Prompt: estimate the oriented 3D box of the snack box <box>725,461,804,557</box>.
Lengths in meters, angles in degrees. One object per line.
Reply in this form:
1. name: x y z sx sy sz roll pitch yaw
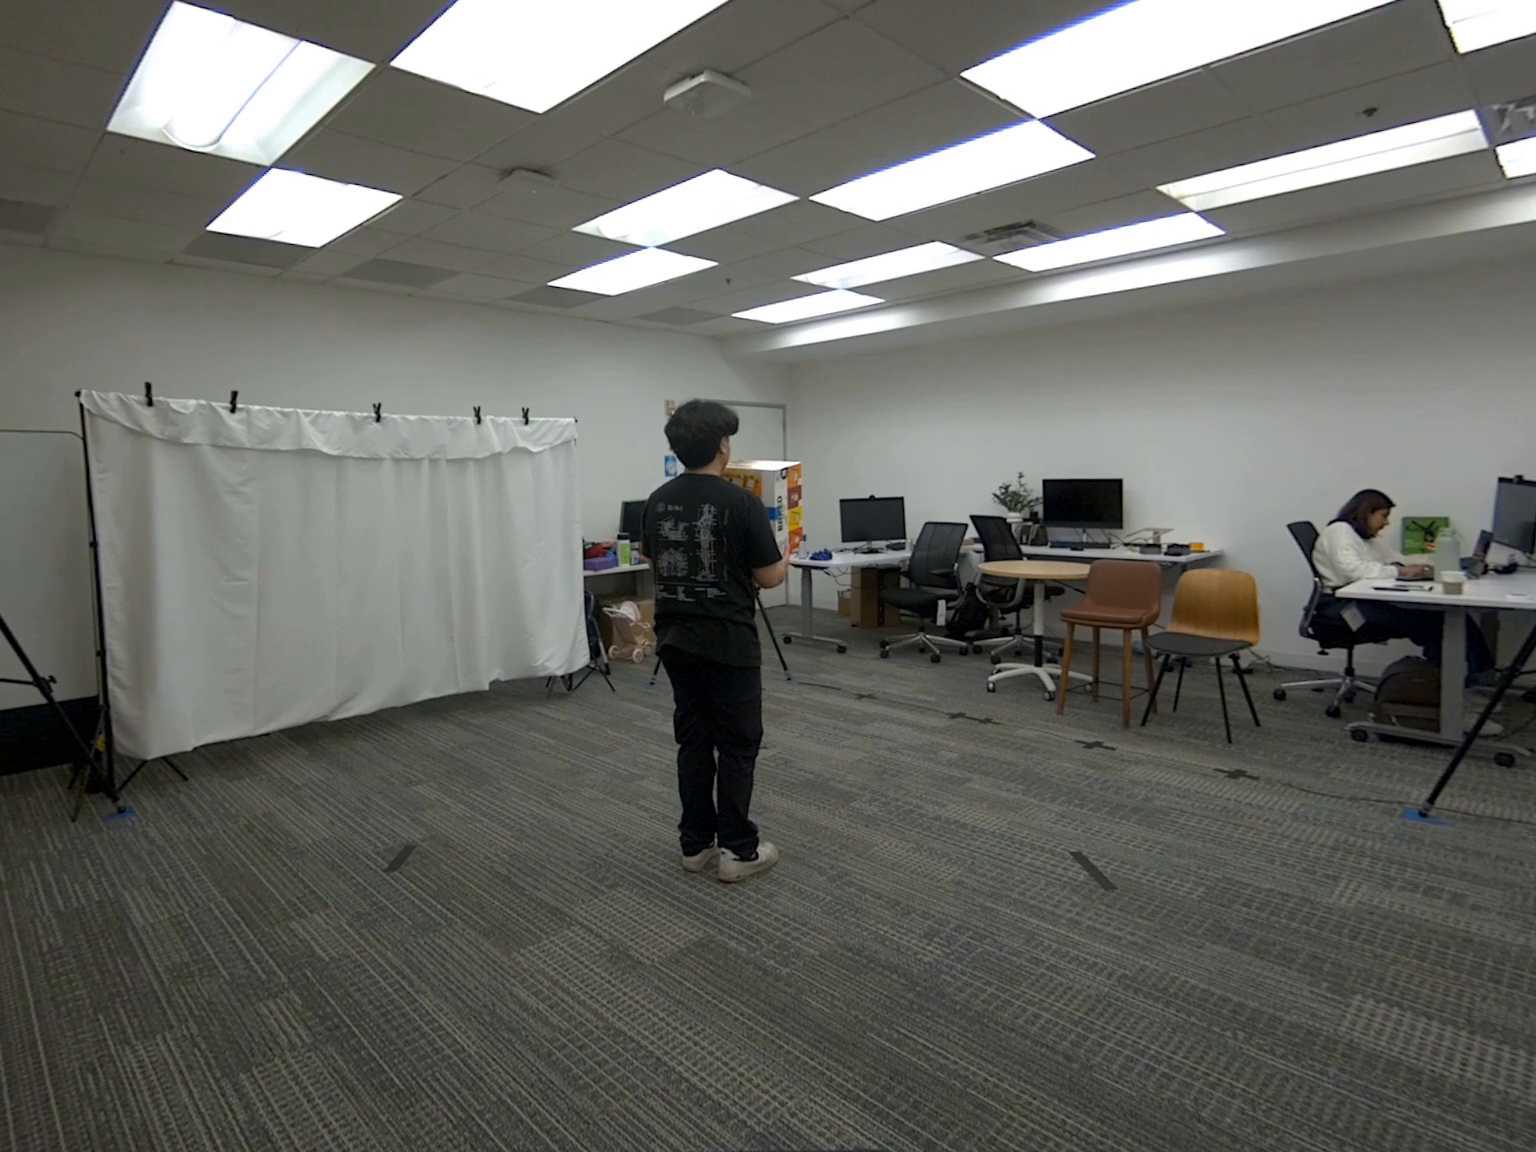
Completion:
1. snack box: -0.095 -0.272 3.380 0.417 0.336 0.202 8 16 32
